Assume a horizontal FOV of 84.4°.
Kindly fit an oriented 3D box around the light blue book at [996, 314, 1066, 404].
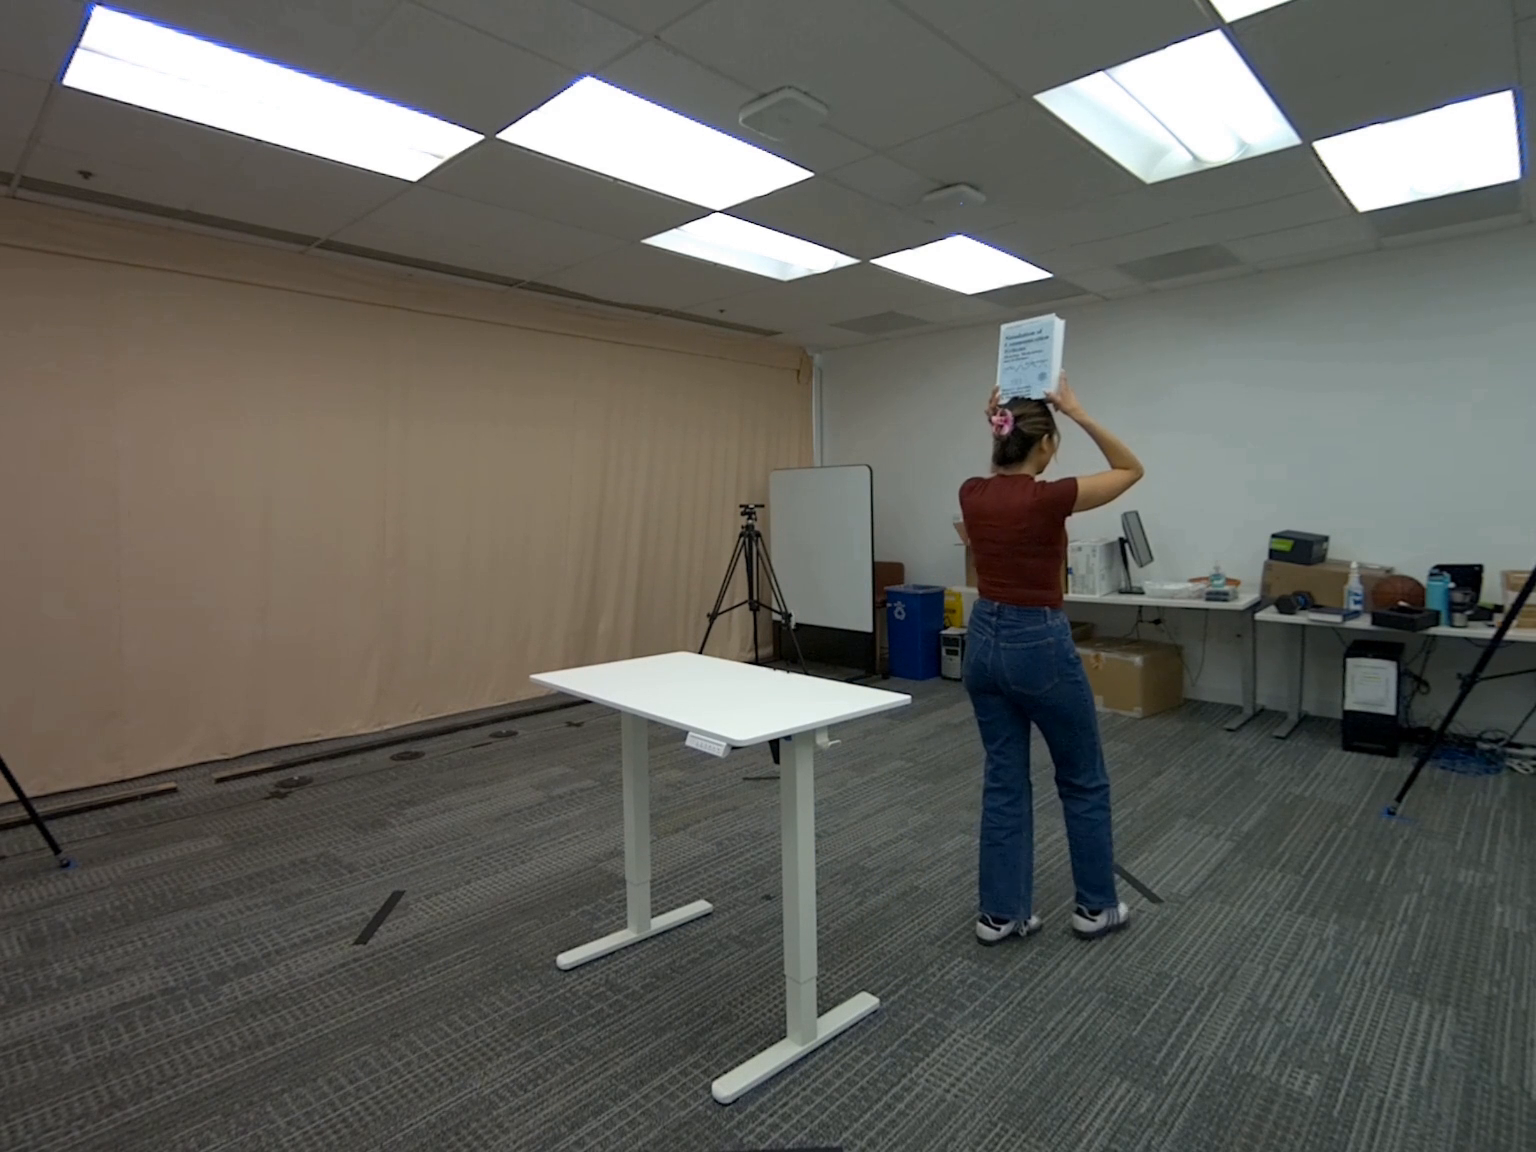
[{"bbox_3d":[0.825,-0.666,2.630,0.057,0.261,0.198,10,-5,-43],"label":"light blue book"}]
